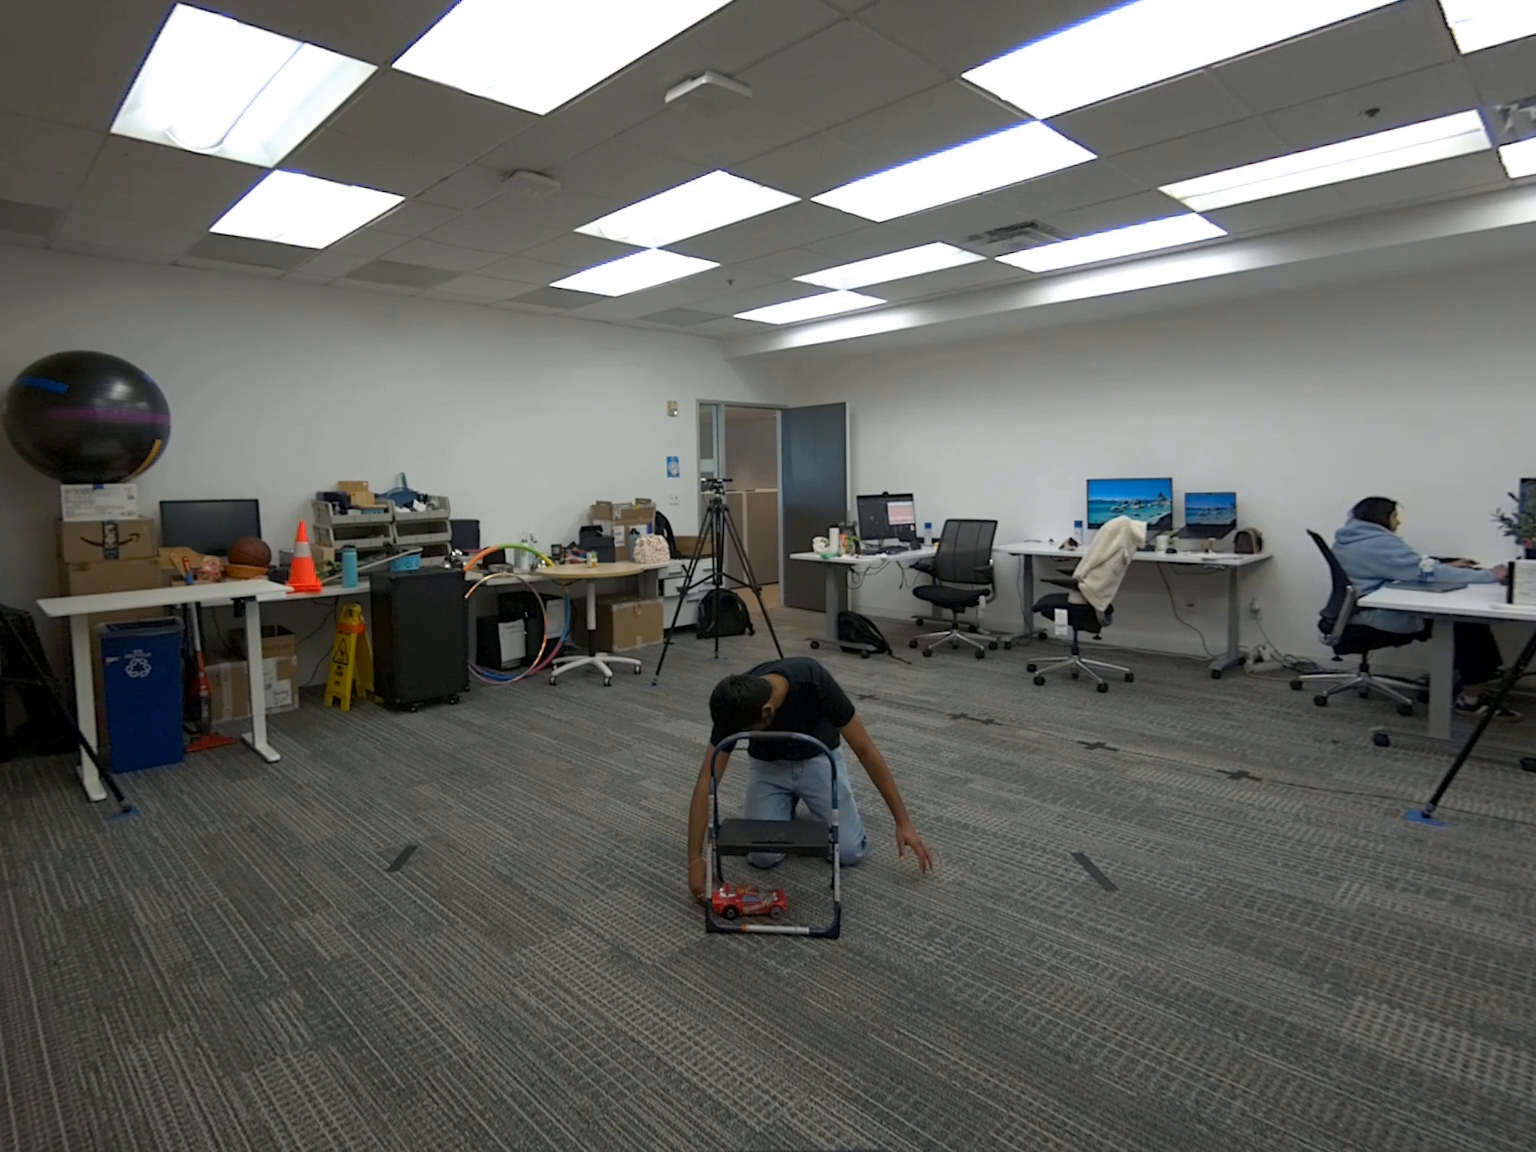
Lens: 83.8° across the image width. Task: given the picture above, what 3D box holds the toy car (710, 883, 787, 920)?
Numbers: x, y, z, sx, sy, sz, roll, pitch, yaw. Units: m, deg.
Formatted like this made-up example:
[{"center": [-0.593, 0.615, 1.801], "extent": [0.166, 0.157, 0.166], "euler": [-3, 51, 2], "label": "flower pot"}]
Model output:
[{"center": [-0.081, 1.058, 2.758], "extent": [0.254, 0.083, 0.131], "euler": [8, 5, -4], "label": "toy car"}]
